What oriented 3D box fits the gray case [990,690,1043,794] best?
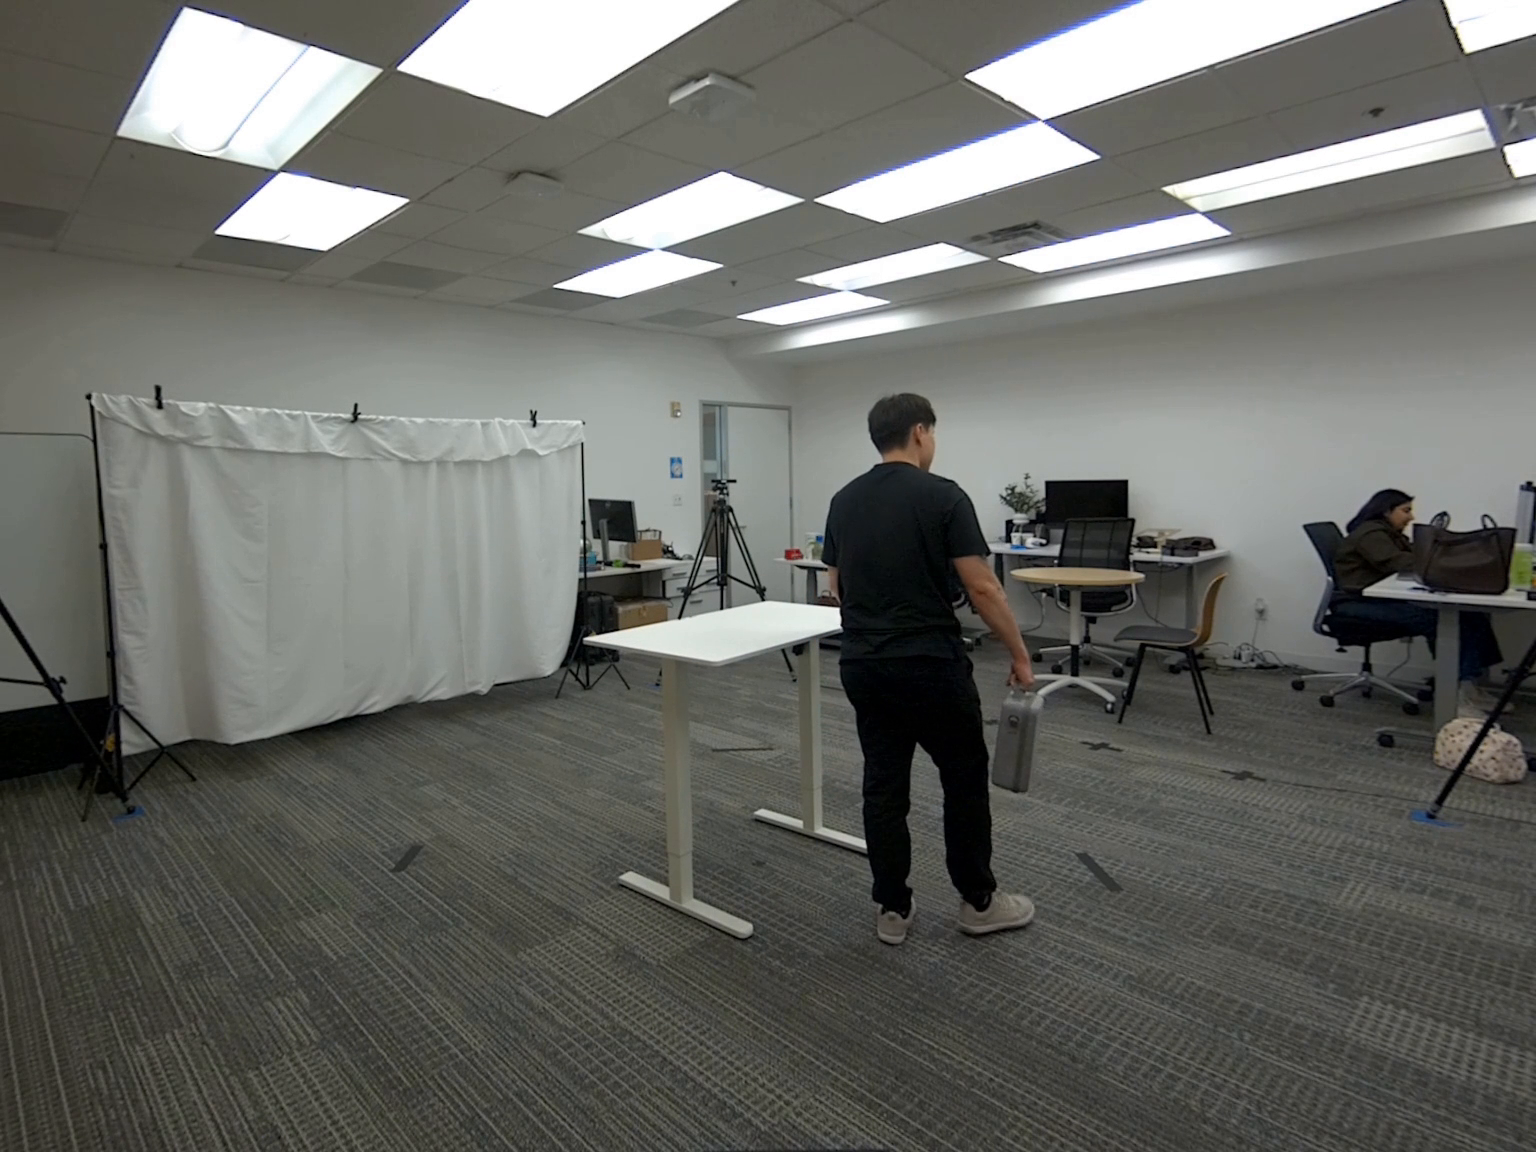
[{"bbox_3d":[0.726,0.467,2.490,0.107,0.260,0.251,5,1,25],"label":"gray case"}]
